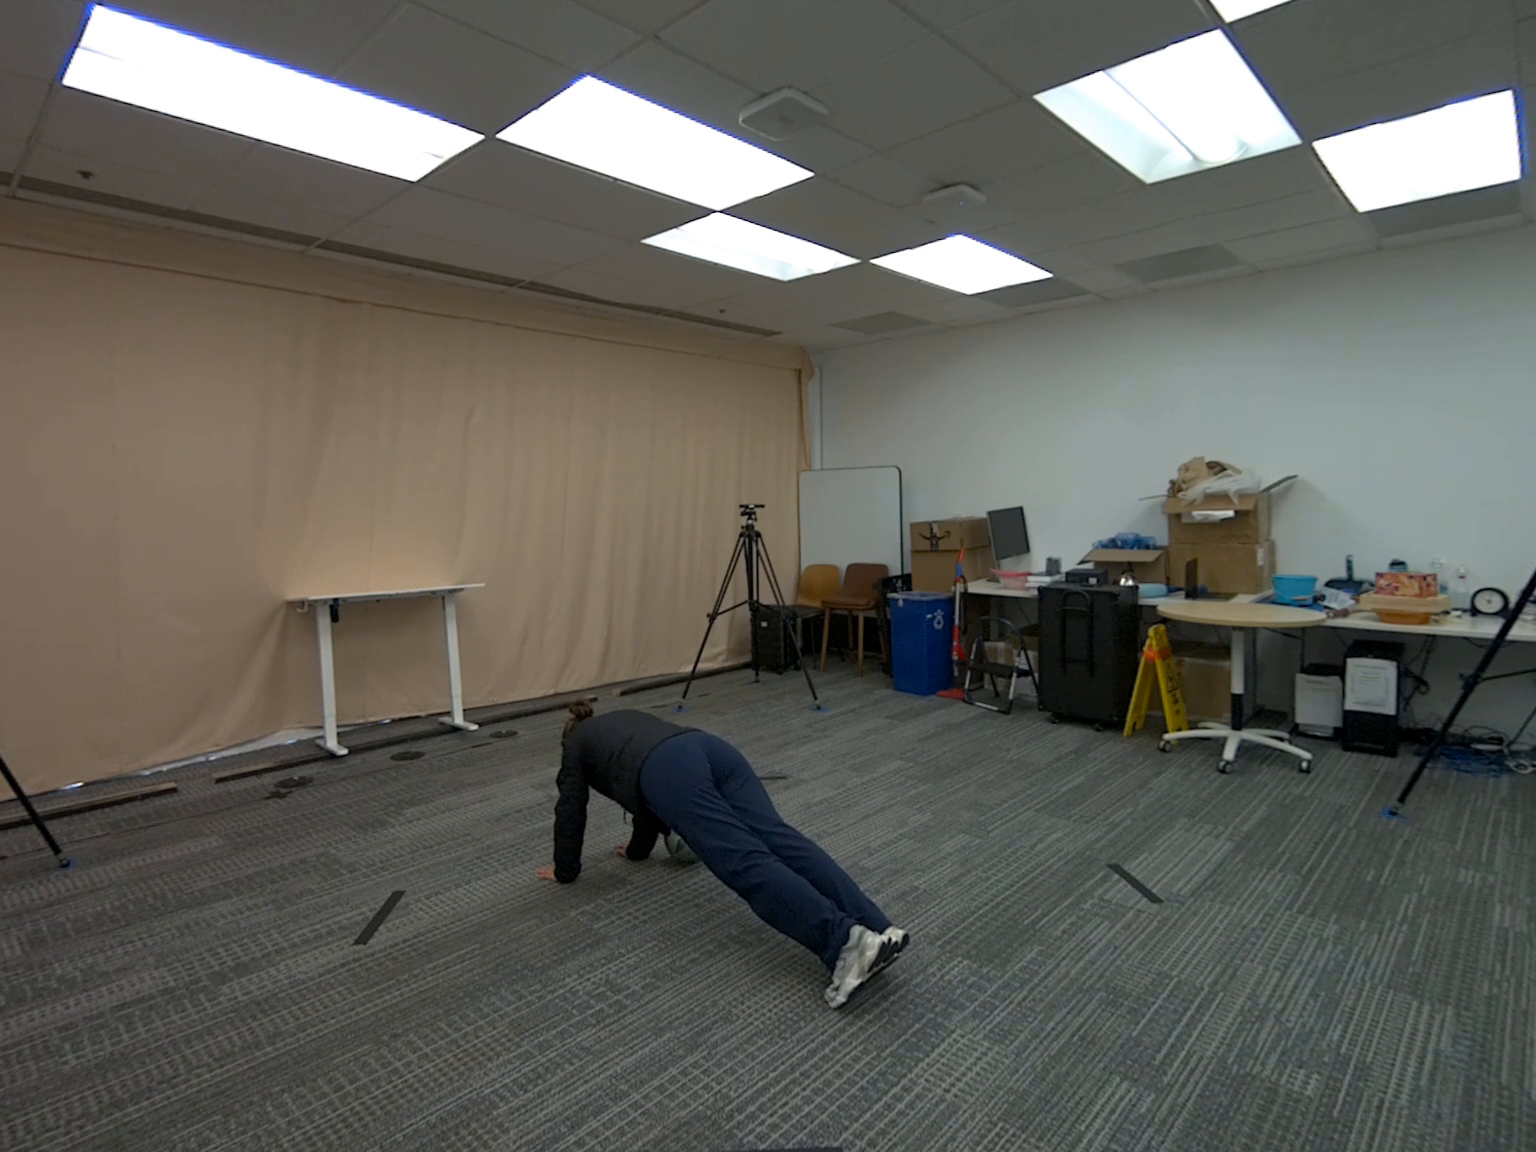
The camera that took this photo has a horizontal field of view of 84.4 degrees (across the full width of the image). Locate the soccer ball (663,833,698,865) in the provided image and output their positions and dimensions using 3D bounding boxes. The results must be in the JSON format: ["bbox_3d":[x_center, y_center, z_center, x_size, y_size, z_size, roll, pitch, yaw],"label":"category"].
[{"bbox_3d":[-0.312,1.029,3.297,0.187,0.187,0.188,-1,4,-2],"label":"soccer ball"}]
